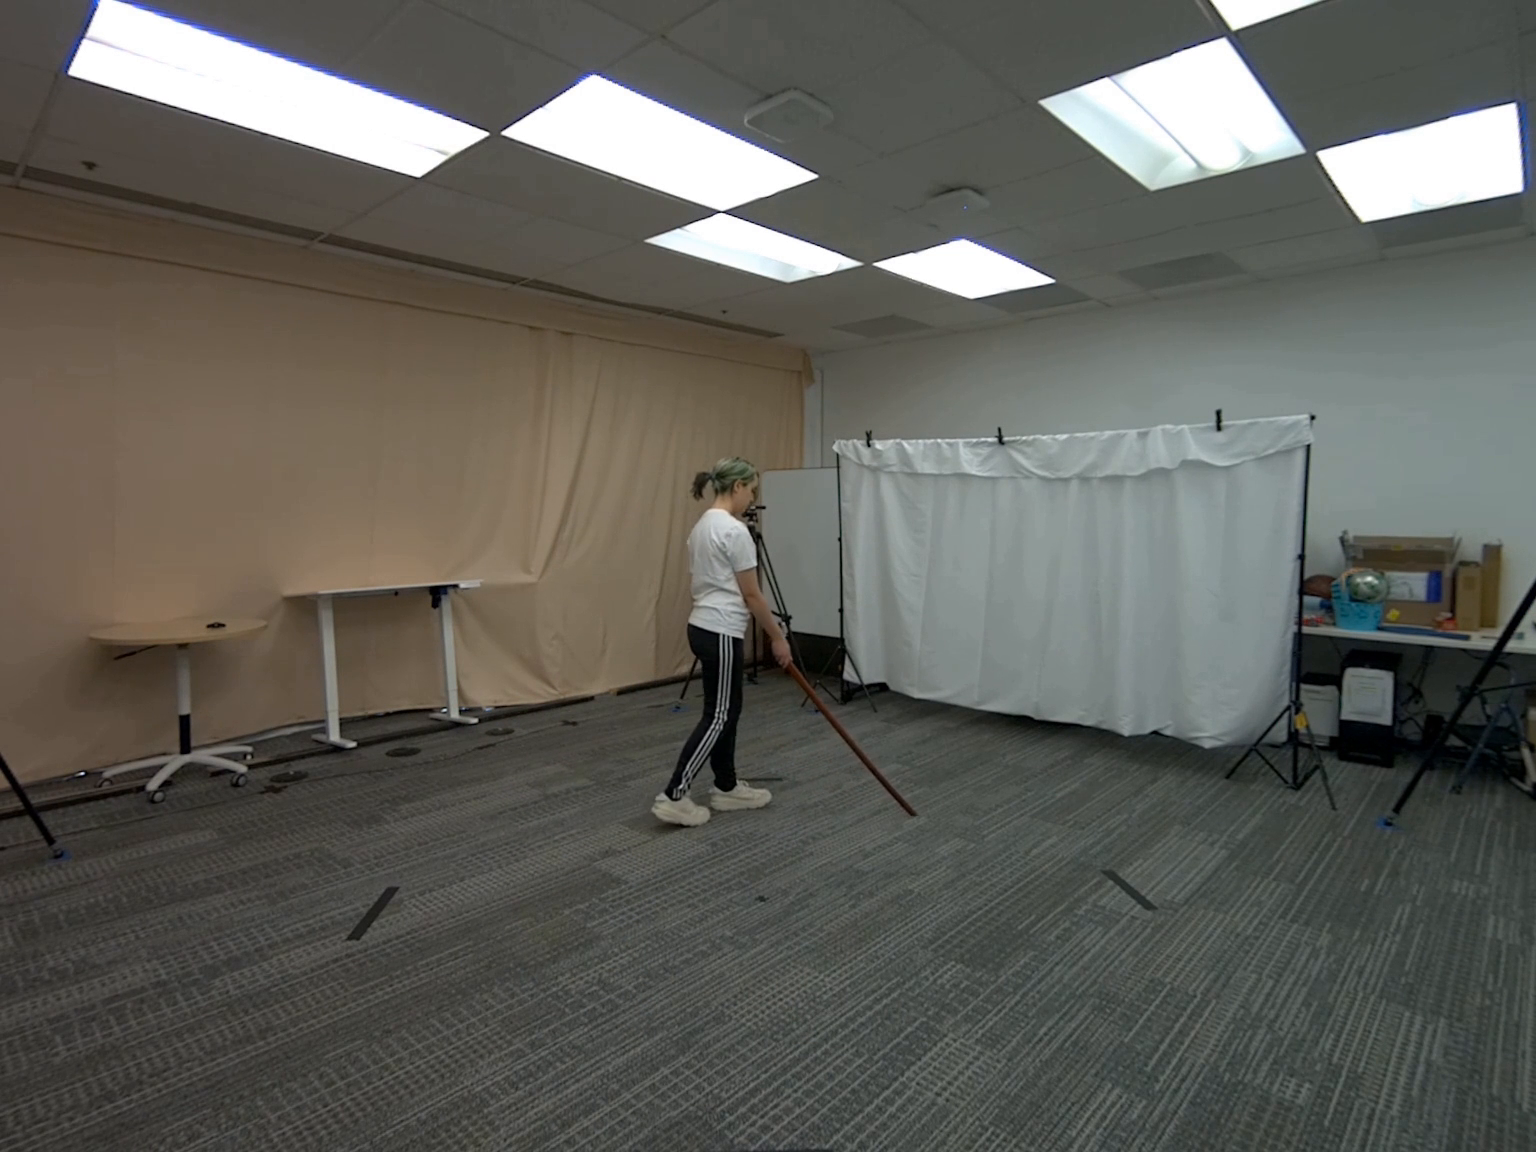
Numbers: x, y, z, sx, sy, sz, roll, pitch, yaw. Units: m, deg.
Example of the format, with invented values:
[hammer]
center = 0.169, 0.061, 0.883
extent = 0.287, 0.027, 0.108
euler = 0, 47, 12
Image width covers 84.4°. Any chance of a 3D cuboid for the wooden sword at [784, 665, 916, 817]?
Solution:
[wooden sword]
center = 0.344, 0.699, 3.804
extent = 0.052, 1.026, 0.024
euler = -40, -1, 30
